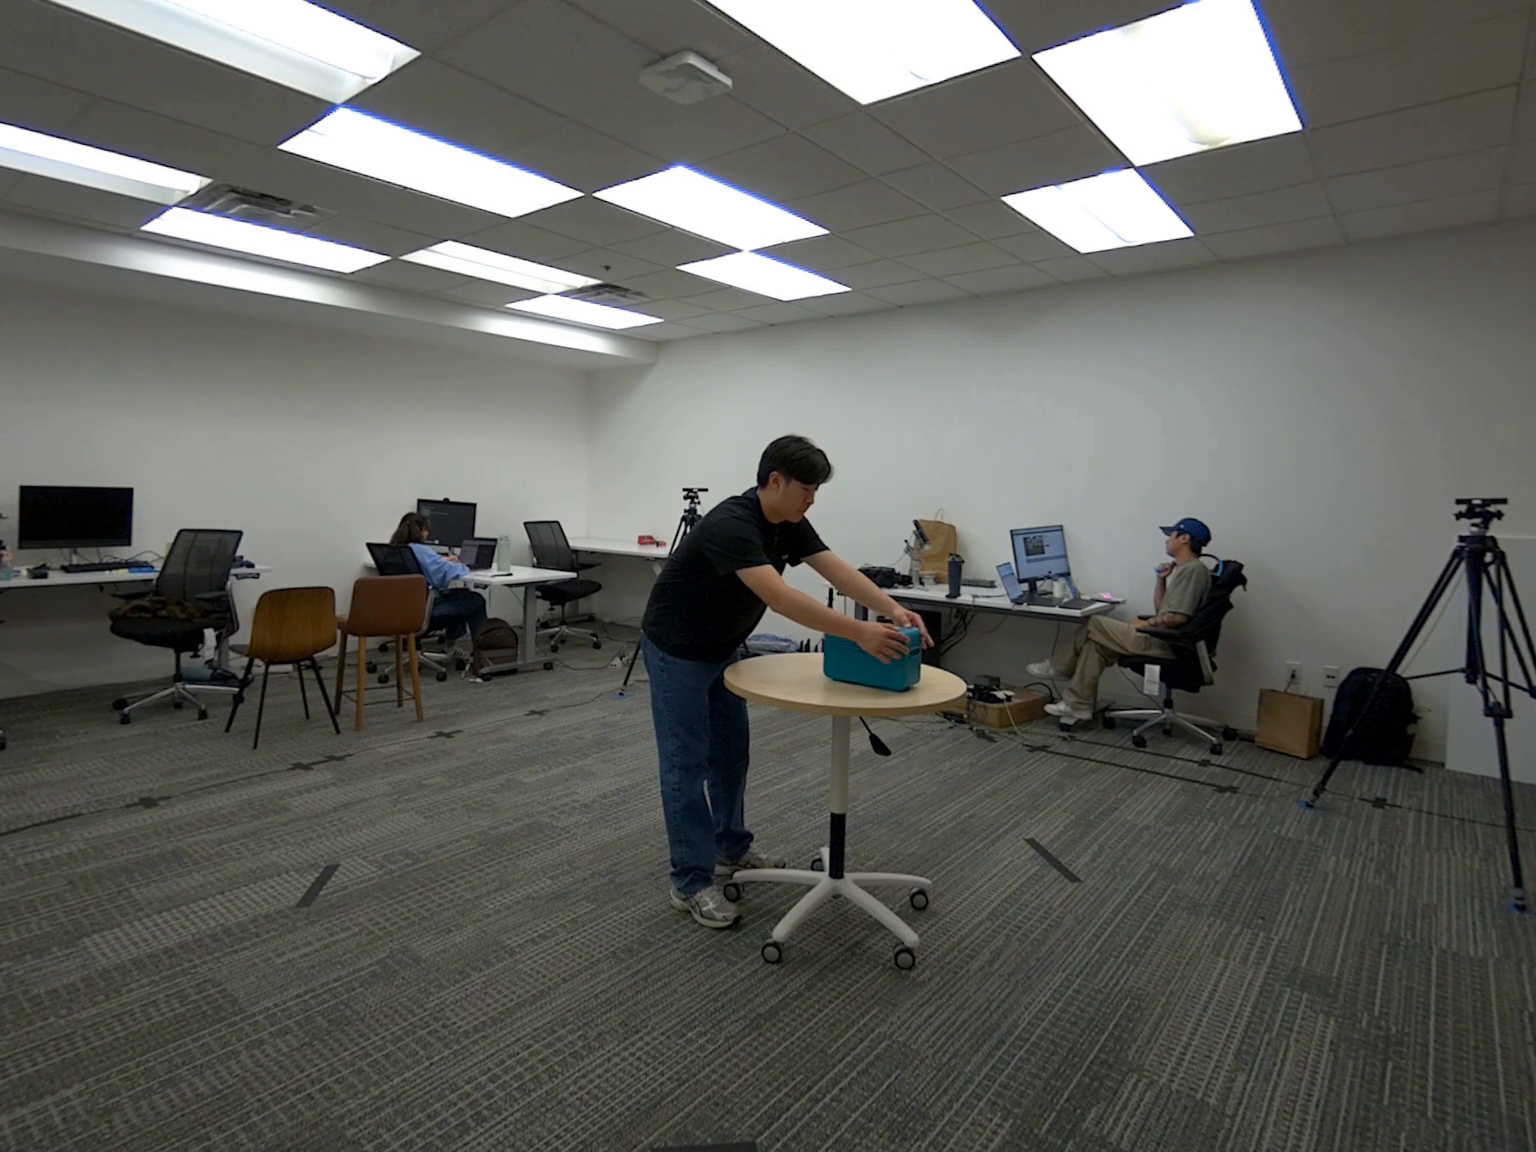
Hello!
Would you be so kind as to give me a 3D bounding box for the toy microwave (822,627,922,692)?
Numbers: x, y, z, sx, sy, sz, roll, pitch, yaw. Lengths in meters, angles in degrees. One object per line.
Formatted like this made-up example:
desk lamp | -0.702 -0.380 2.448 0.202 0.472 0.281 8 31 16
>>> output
toy microwave | 0.322 0.240 2.652 0.295 0.183 0.148 5 5 36
